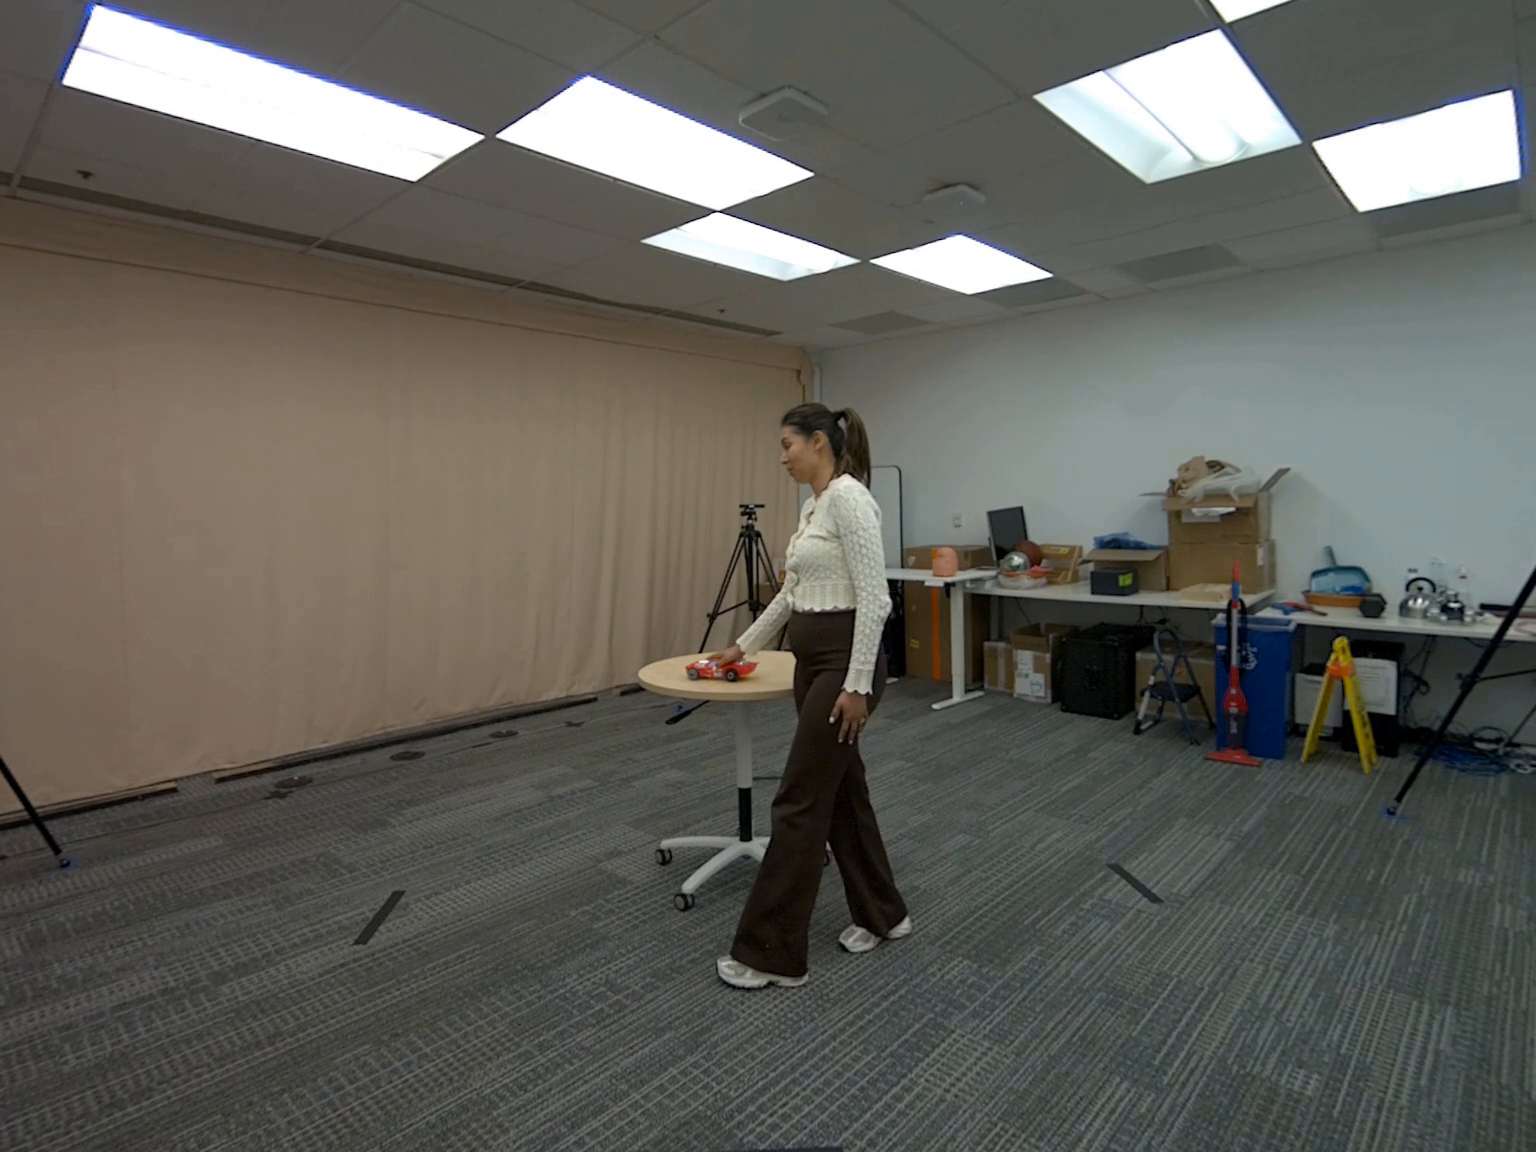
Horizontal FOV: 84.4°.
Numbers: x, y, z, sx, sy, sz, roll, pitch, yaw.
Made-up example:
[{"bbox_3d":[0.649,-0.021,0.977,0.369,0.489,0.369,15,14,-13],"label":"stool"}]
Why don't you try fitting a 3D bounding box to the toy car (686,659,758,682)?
[{"bbox_3d":[-0.148,0.331,2.953,0.259,0.083,0.128,-13,1,19],"label":"toy car"}]
